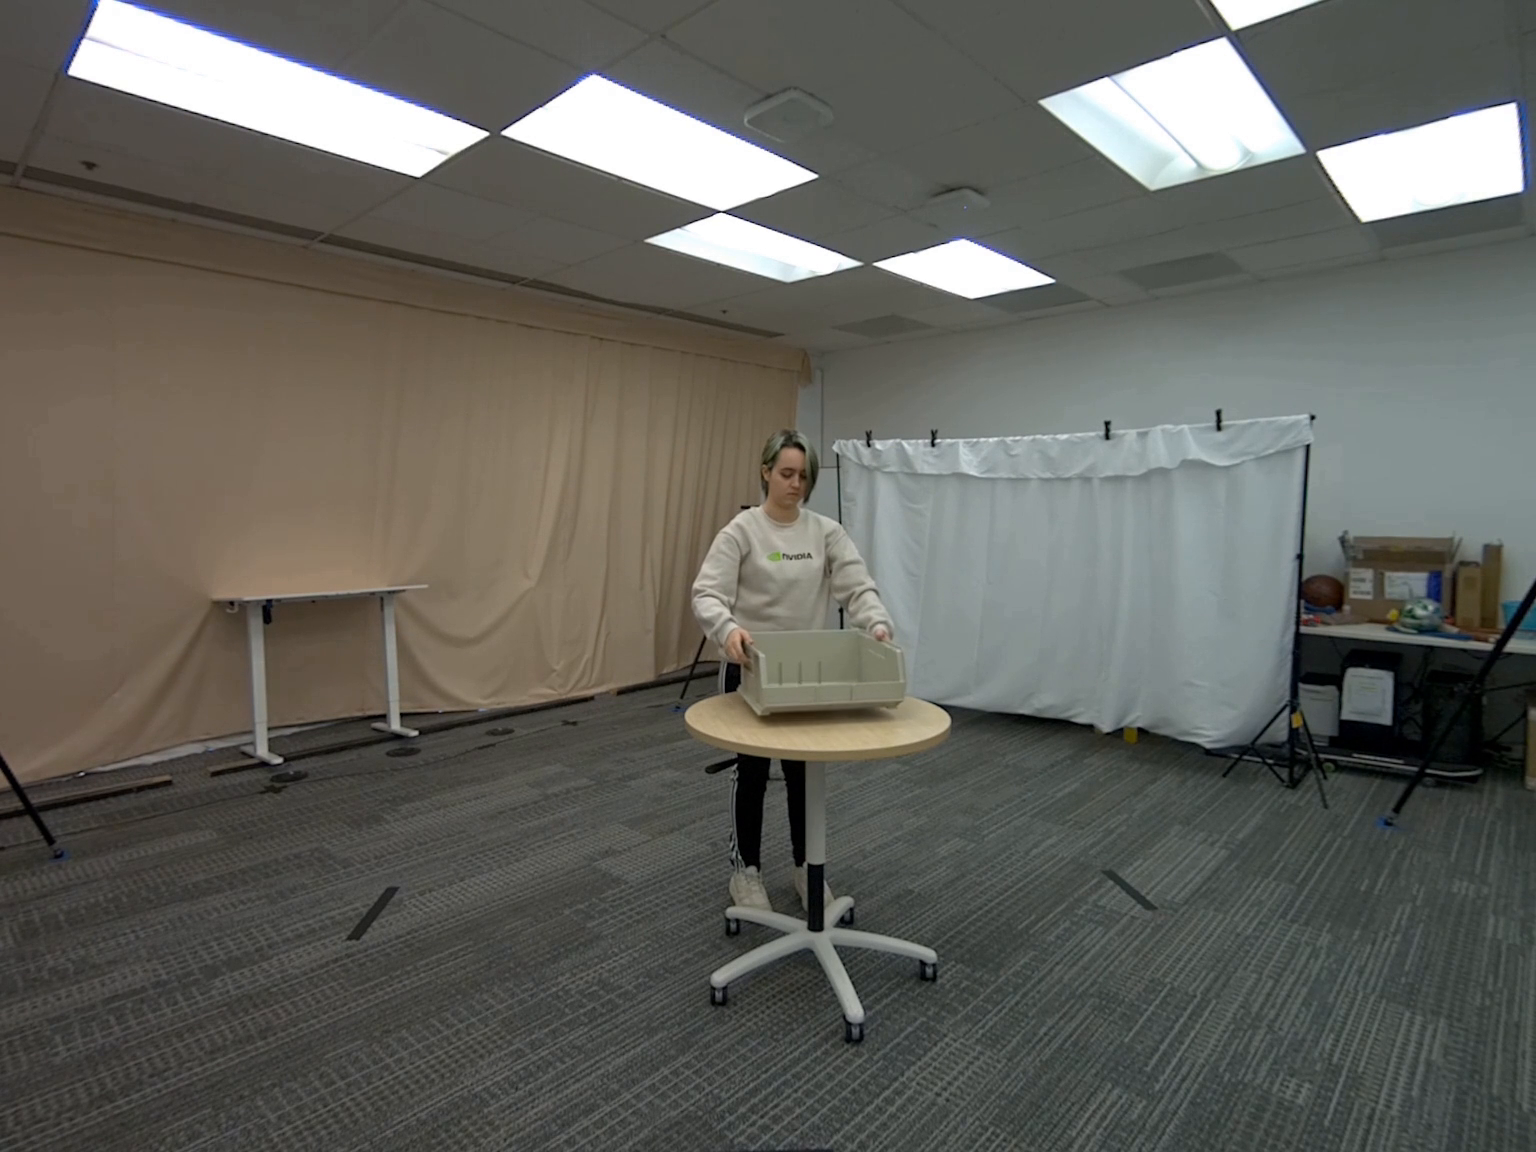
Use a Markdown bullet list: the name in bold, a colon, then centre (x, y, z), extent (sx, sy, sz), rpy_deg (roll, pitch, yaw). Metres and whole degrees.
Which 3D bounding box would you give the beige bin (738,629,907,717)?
- **beige bin**: centre (0.143, 0.281, 2.497), extent (0.418, 0.188, 0.383), rpy_deg (-1, 5, -11)
